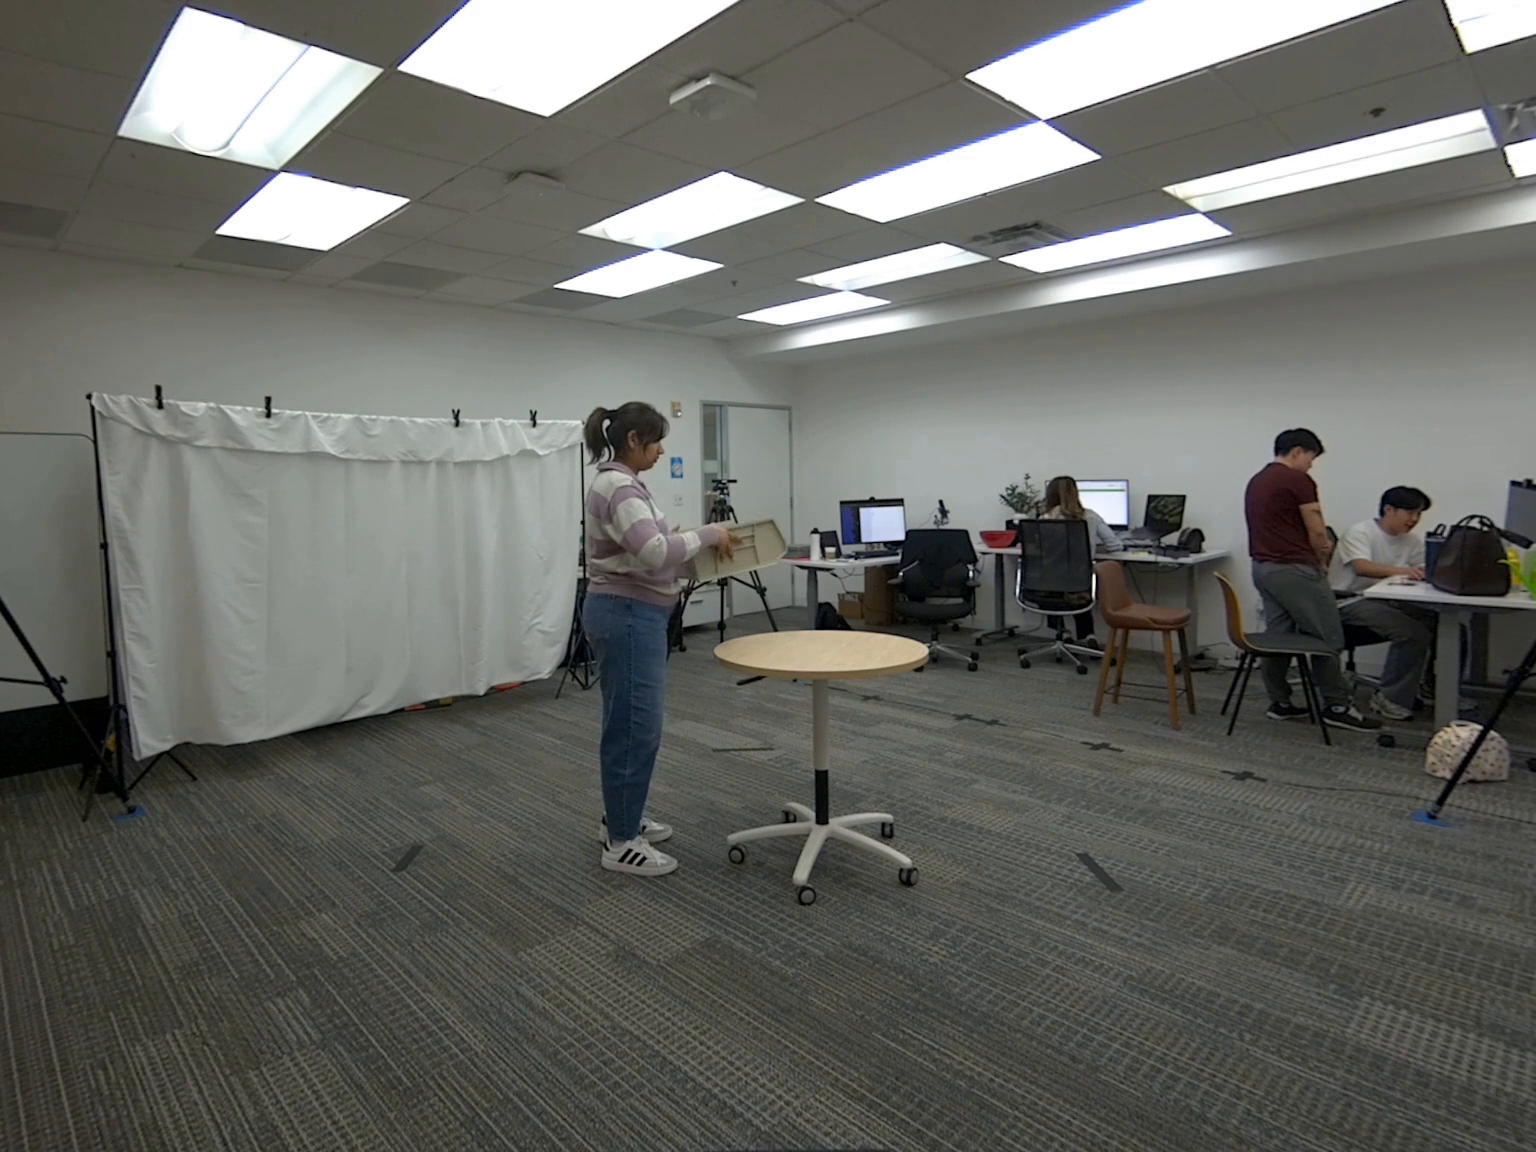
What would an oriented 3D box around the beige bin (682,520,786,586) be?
[{"bbox_3d":[-0.179,-0.100,3.301,0.372,0.188,0.431,-13,7,-22],"label":"beige bin"}]
